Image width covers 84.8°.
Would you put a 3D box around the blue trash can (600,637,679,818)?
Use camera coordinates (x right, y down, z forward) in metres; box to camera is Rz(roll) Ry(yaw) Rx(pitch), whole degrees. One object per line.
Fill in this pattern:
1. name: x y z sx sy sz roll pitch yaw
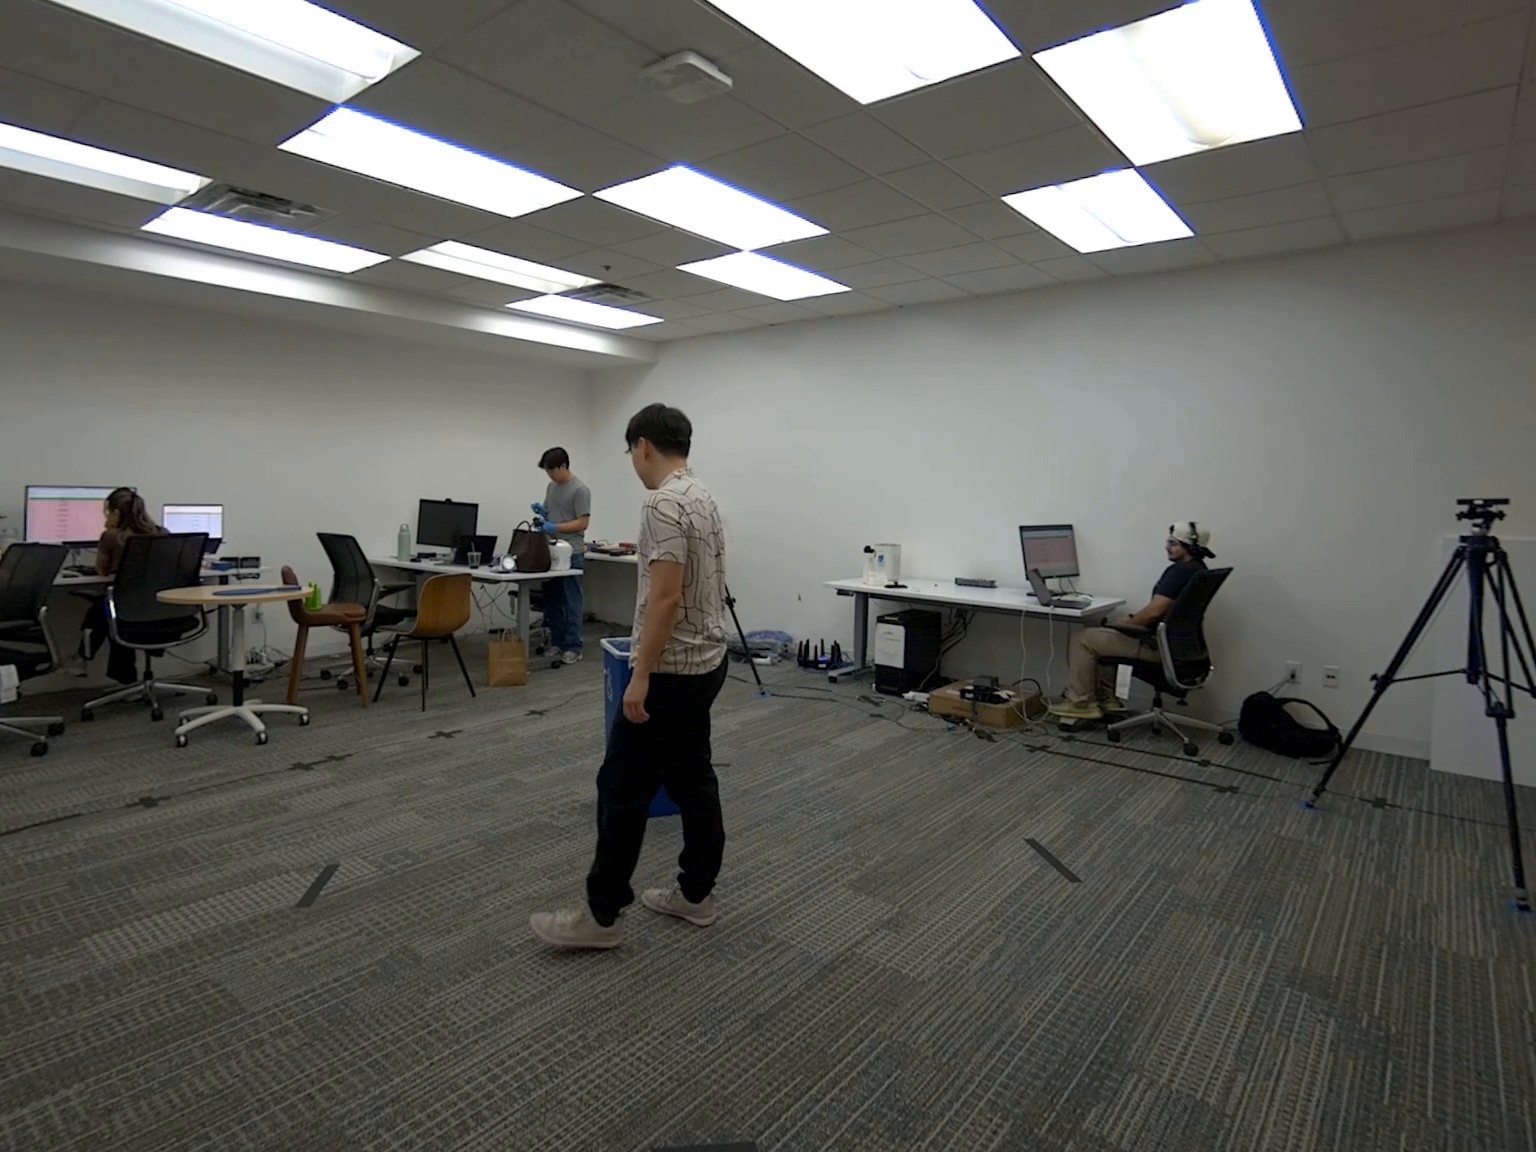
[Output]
1. blue trash can: -0.526 0.647 3.715 0.370 0.711 0.383 -1 3 -23
